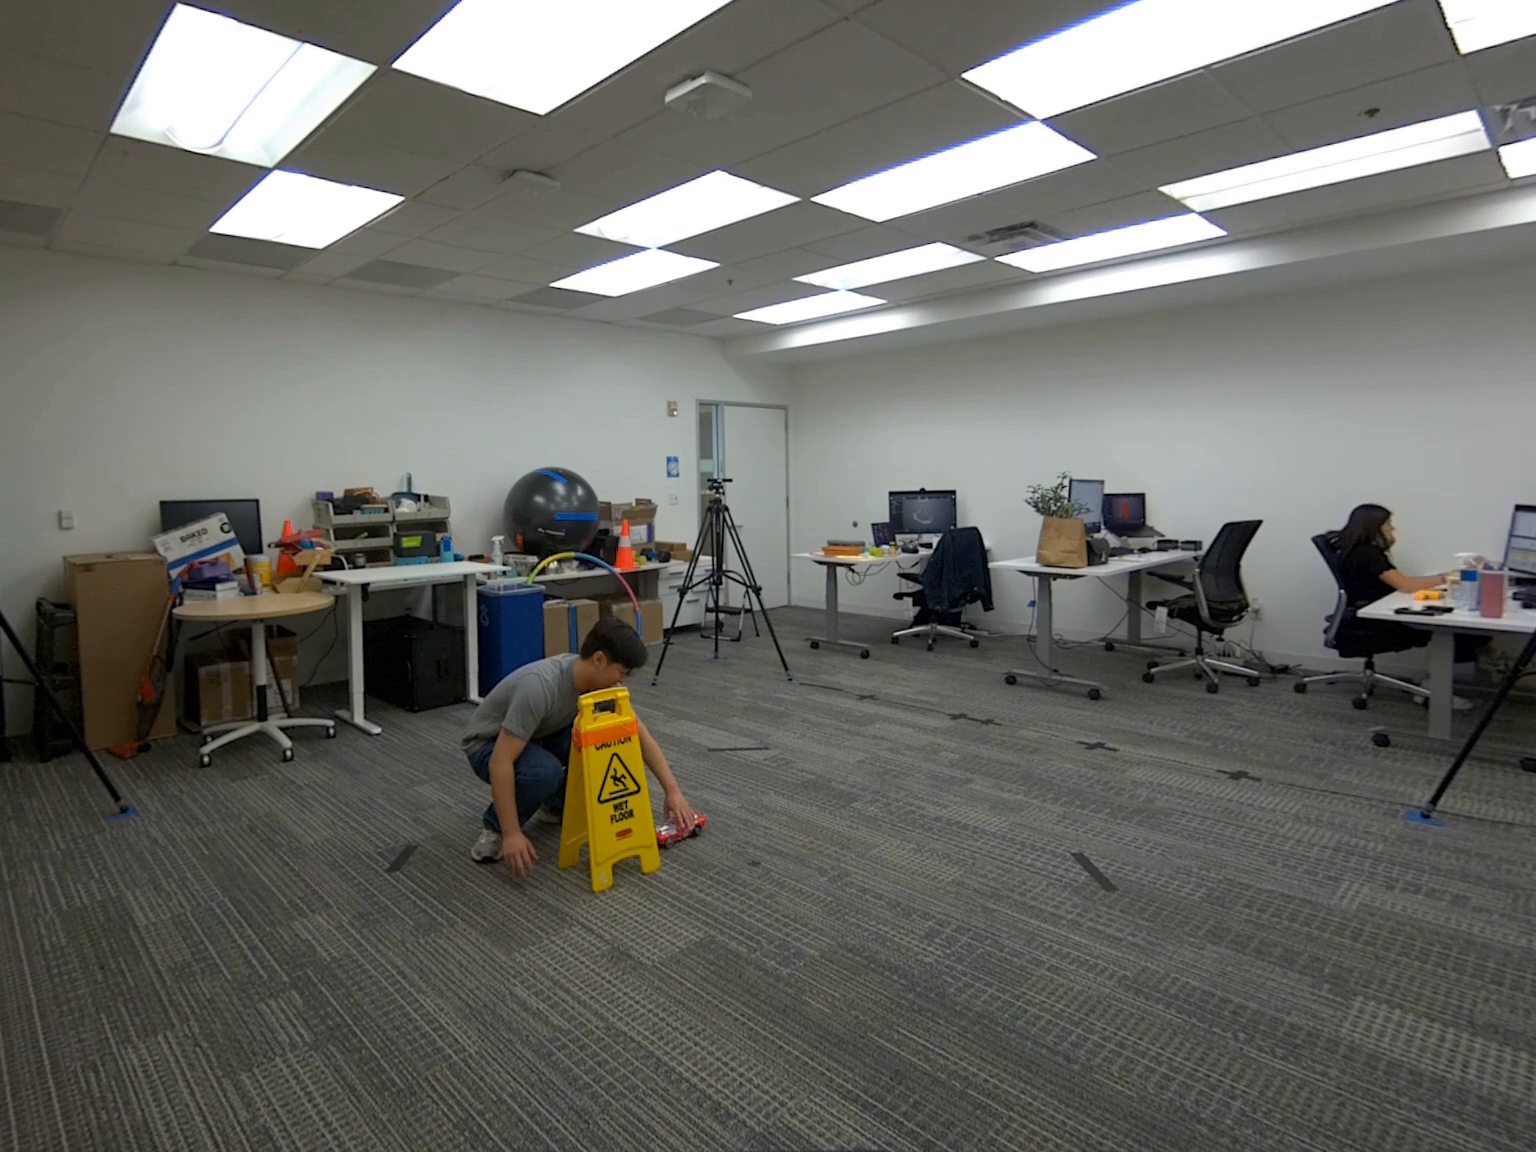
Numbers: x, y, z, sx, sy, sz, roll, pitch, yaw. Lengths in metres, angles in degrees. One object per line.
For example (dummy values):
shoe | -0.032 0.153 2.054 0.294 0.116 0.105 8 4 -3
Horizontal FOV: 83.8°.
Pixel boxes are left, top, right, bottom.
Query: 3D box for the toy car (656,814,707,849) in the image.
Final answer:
toy car | -0.351 0.985 3.347 0.134 0.082 0.250 2 18 43
